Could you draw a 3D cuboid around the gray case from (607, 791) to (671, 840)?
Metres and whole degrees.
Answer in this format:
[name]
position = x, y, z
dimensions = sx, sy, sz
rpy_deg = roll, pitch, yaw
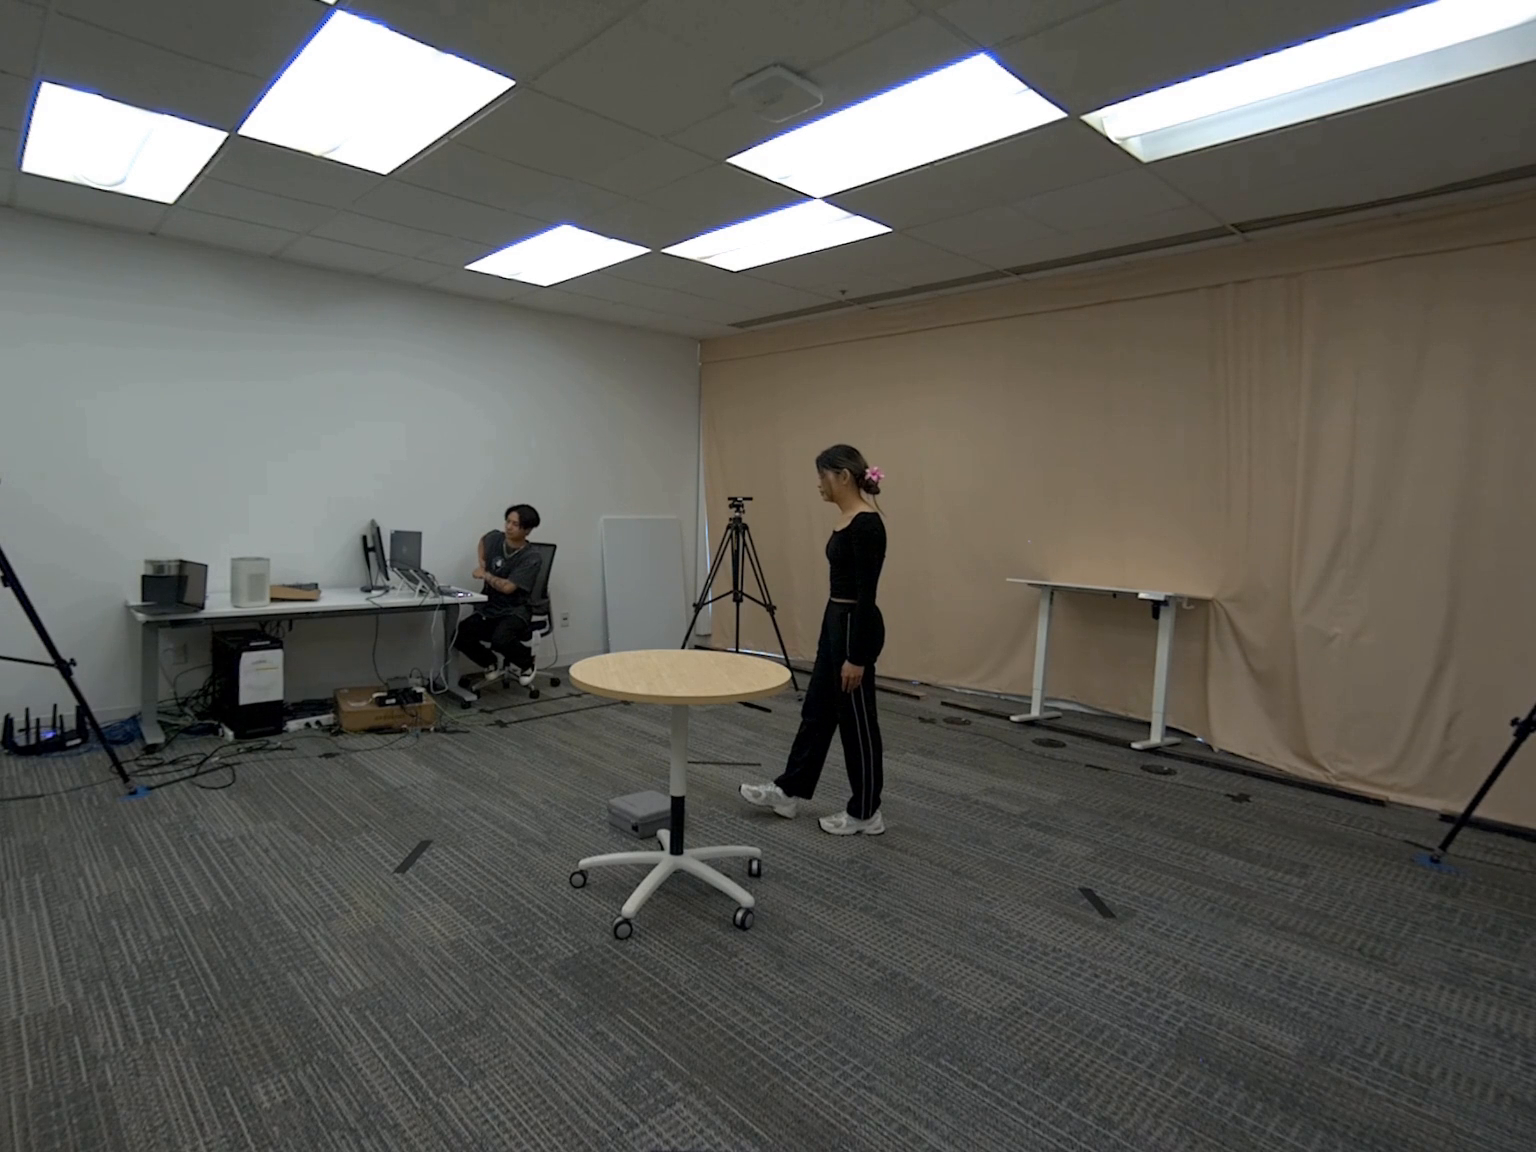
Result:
[gray case]
position = -0.523, 1.001, 3.571
dimensions = 0.254, 0.104, 0.263
rpy_deg = -1, 5, -44
